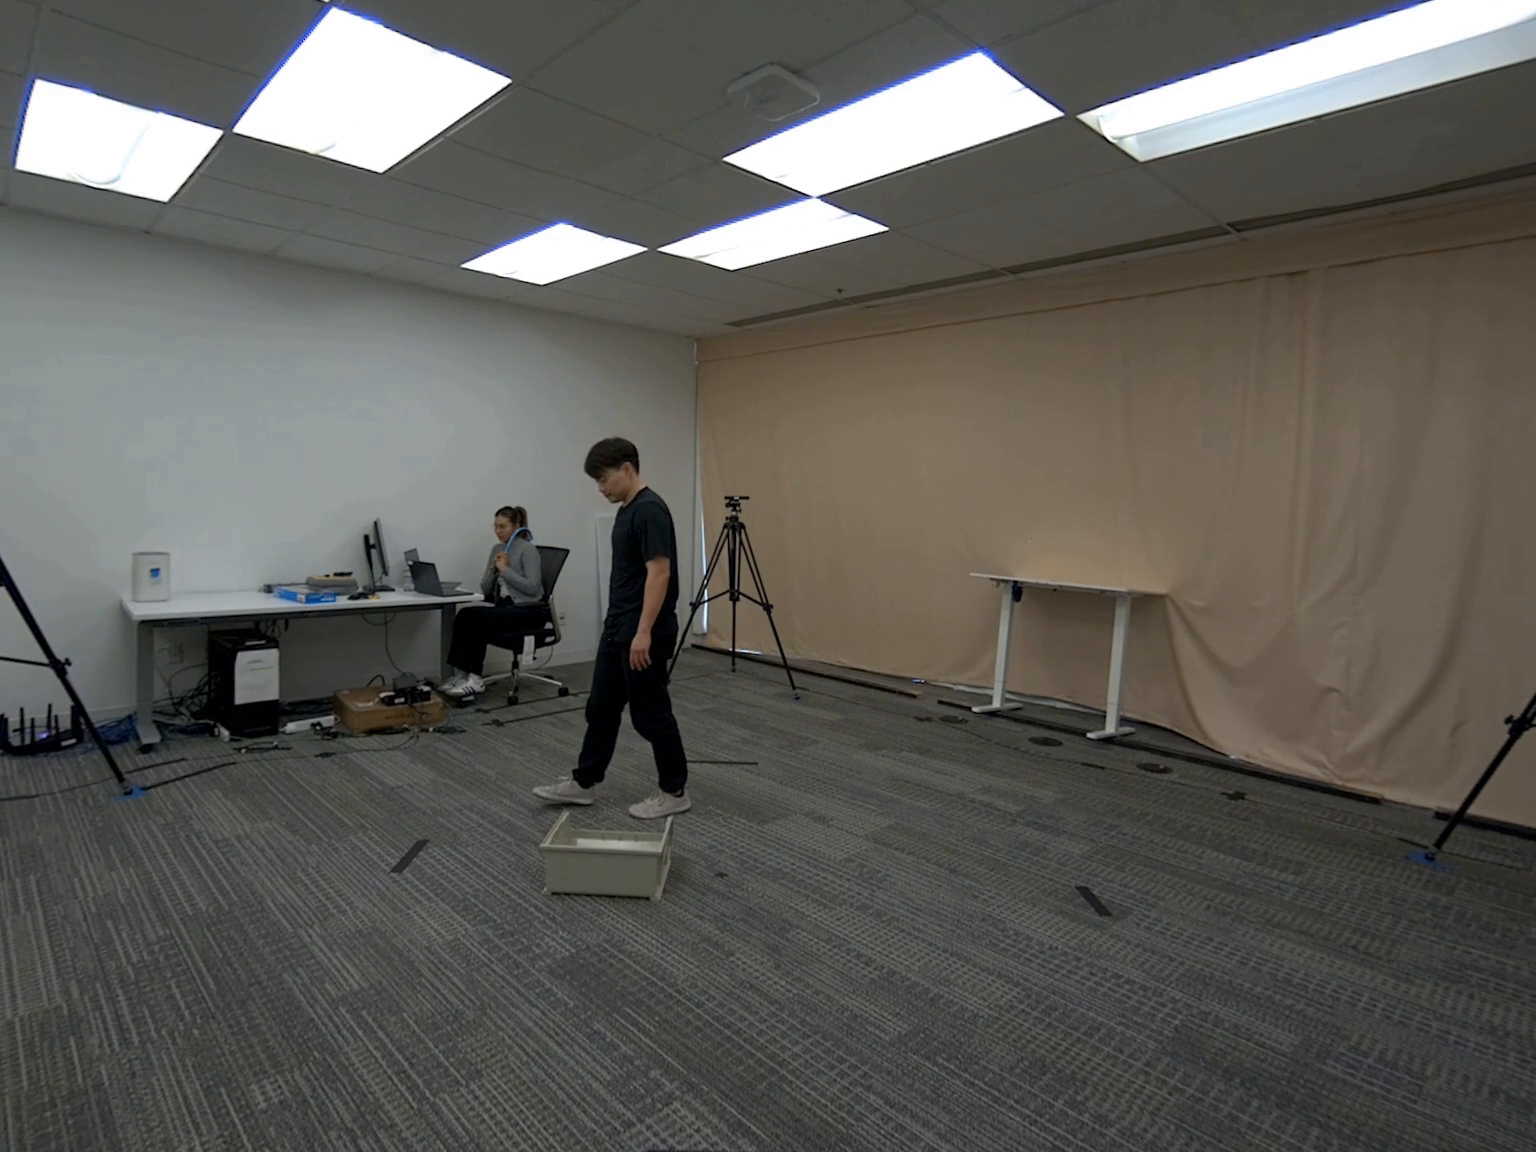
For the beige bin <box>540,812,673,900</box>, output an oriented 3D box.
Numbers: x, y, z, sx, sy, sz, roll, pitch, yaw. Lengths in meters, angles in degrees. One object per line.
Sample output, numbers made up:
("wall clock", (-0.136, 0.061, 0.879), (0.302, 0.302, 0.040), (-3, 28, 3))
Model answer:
("beige bin", (-0.580, 1.009, 3.073), (0.423, 0.188, 0.378), (3, 5, 1))
